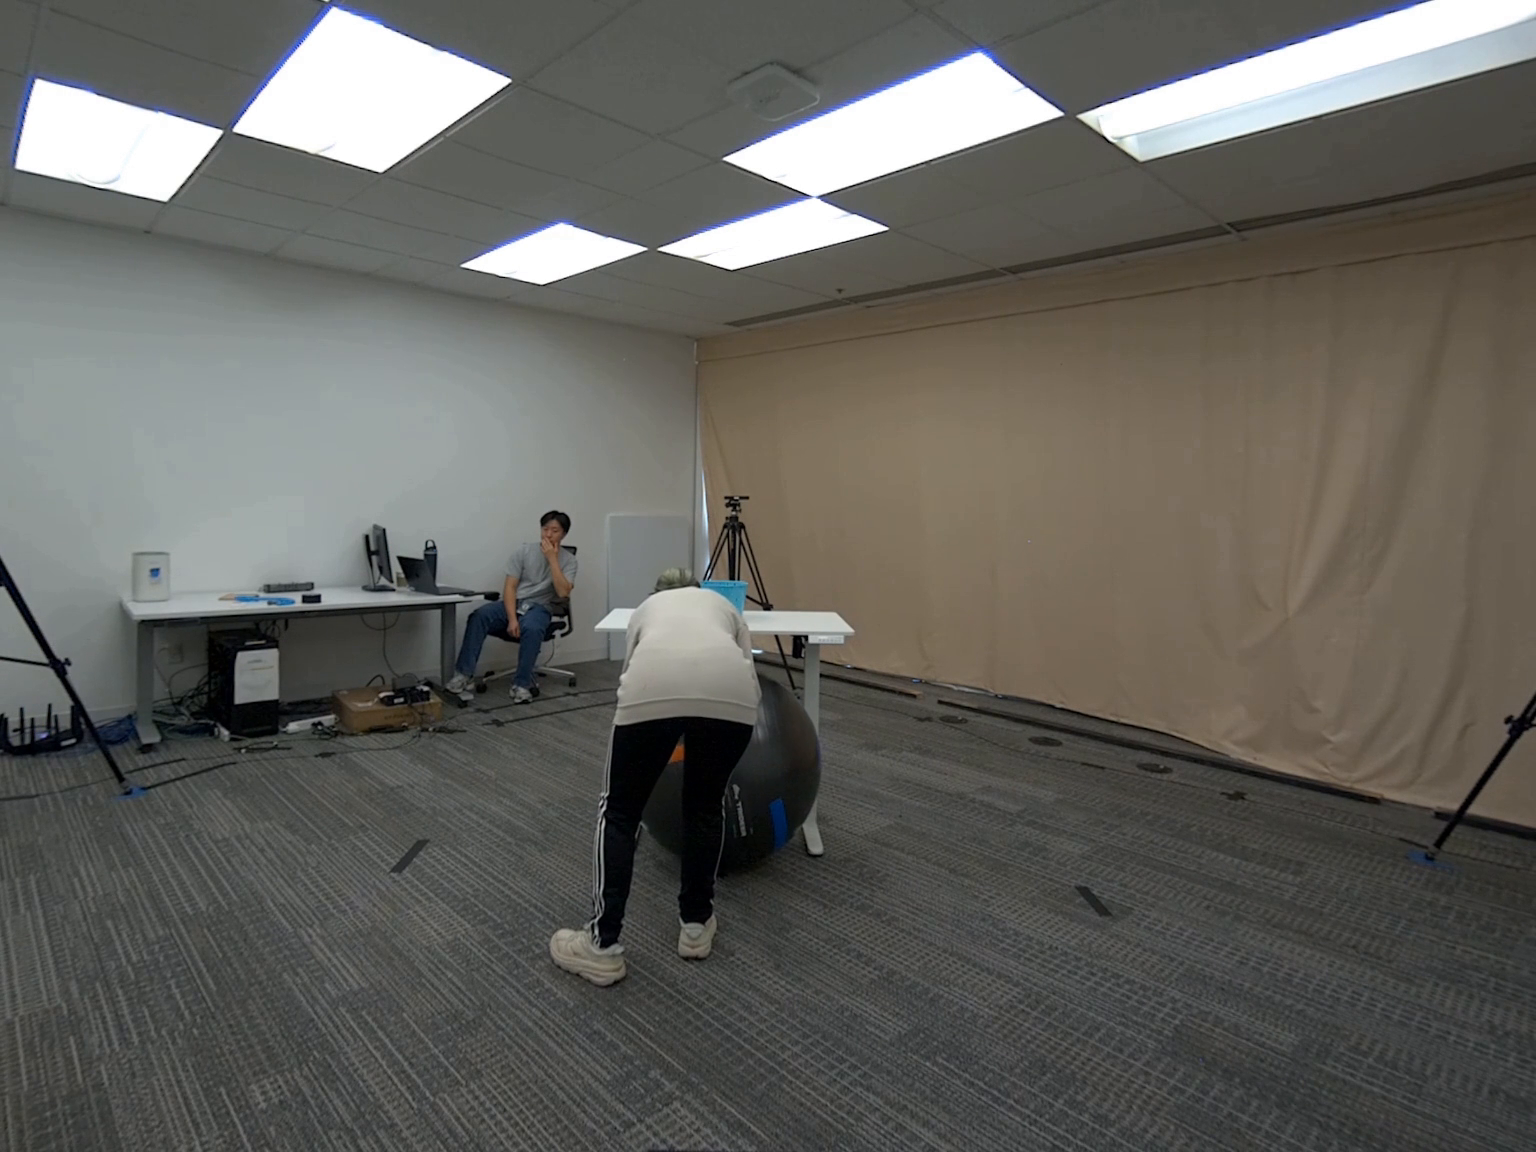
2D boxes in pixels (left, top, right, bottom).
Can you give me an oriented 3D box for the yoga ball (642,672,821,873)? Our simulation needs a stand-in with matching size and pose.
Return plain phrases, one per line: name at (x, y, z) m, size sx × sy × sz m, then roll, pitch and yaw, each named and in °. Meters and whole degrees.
yoga ball at (-0.179, 0.723, 3.244) m, size 0.757 × 0.756 × 0.761 m, roll 1°, pitch 4°, yaw -1°
